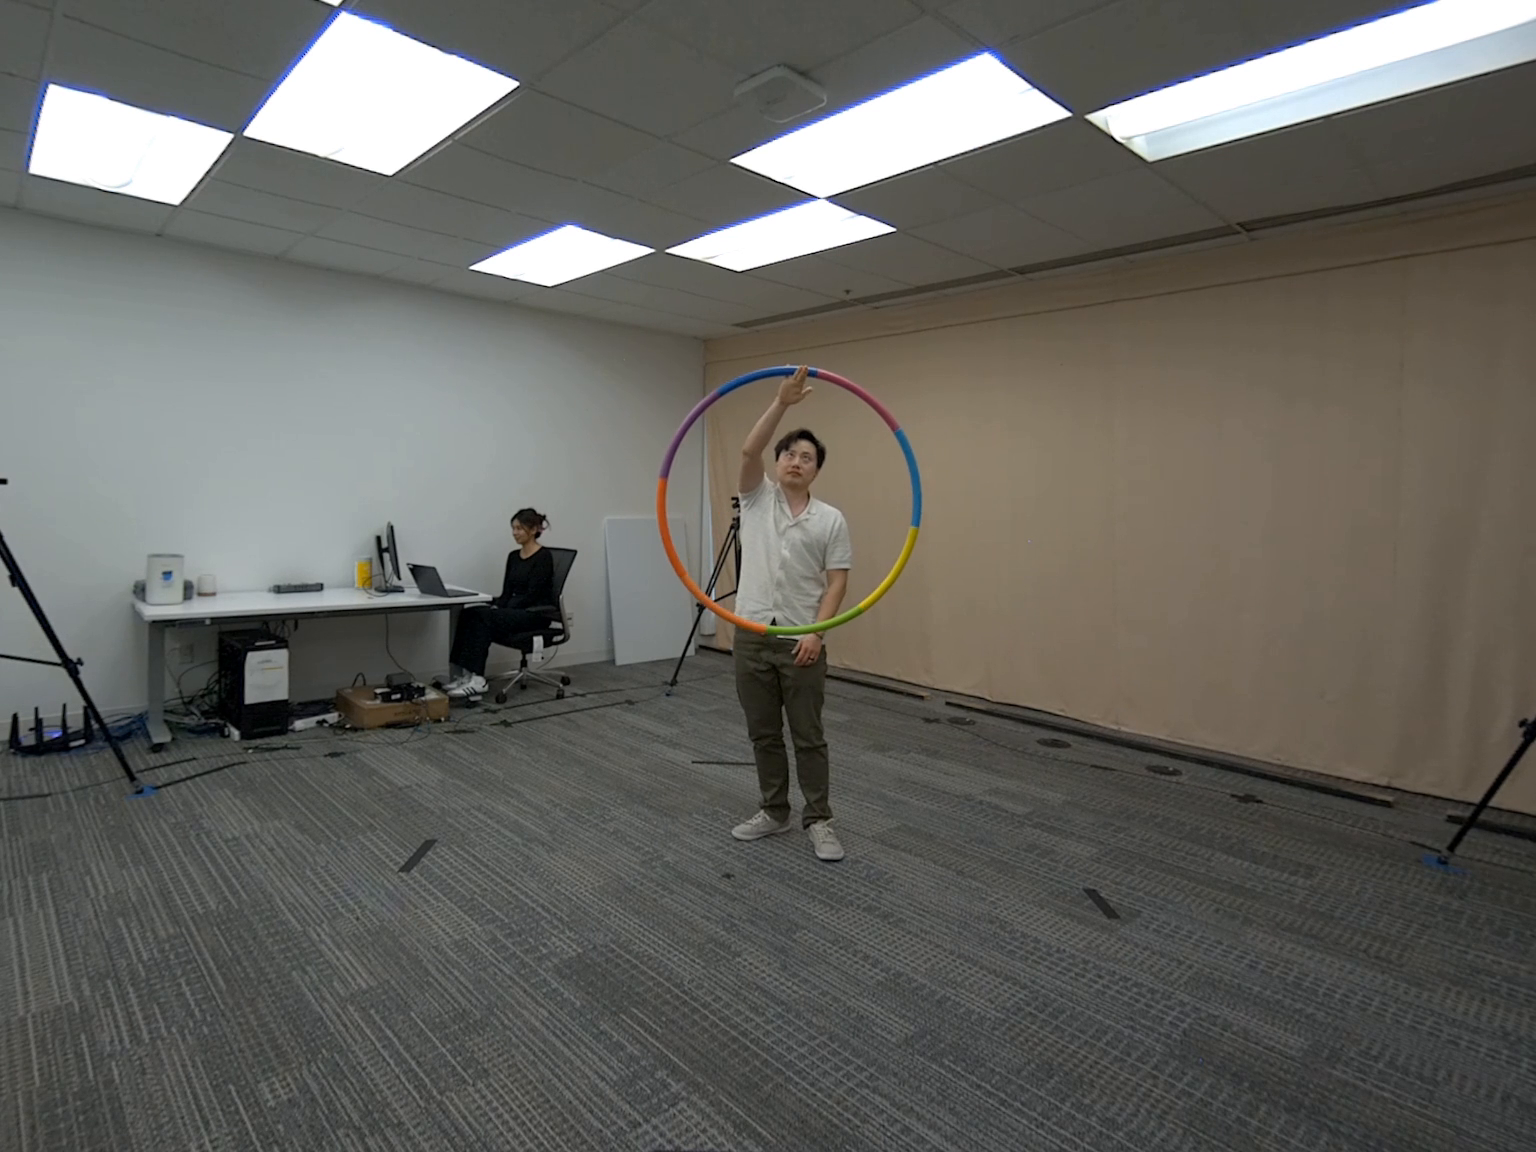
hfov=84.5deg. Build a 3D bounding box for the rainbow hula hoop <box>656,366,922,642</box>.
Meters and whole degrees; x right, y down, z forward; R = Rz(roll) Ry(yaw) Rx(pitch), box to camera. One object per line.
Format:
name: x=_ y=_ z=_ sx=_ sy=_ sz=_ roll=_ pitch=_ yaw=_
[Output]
rainbow hula hoop: x=0.080 y=-0.265 z=3.097 sx=0.975 sy=0.975 sz=0.036 roll=1 pitch=4 yaw=-4
